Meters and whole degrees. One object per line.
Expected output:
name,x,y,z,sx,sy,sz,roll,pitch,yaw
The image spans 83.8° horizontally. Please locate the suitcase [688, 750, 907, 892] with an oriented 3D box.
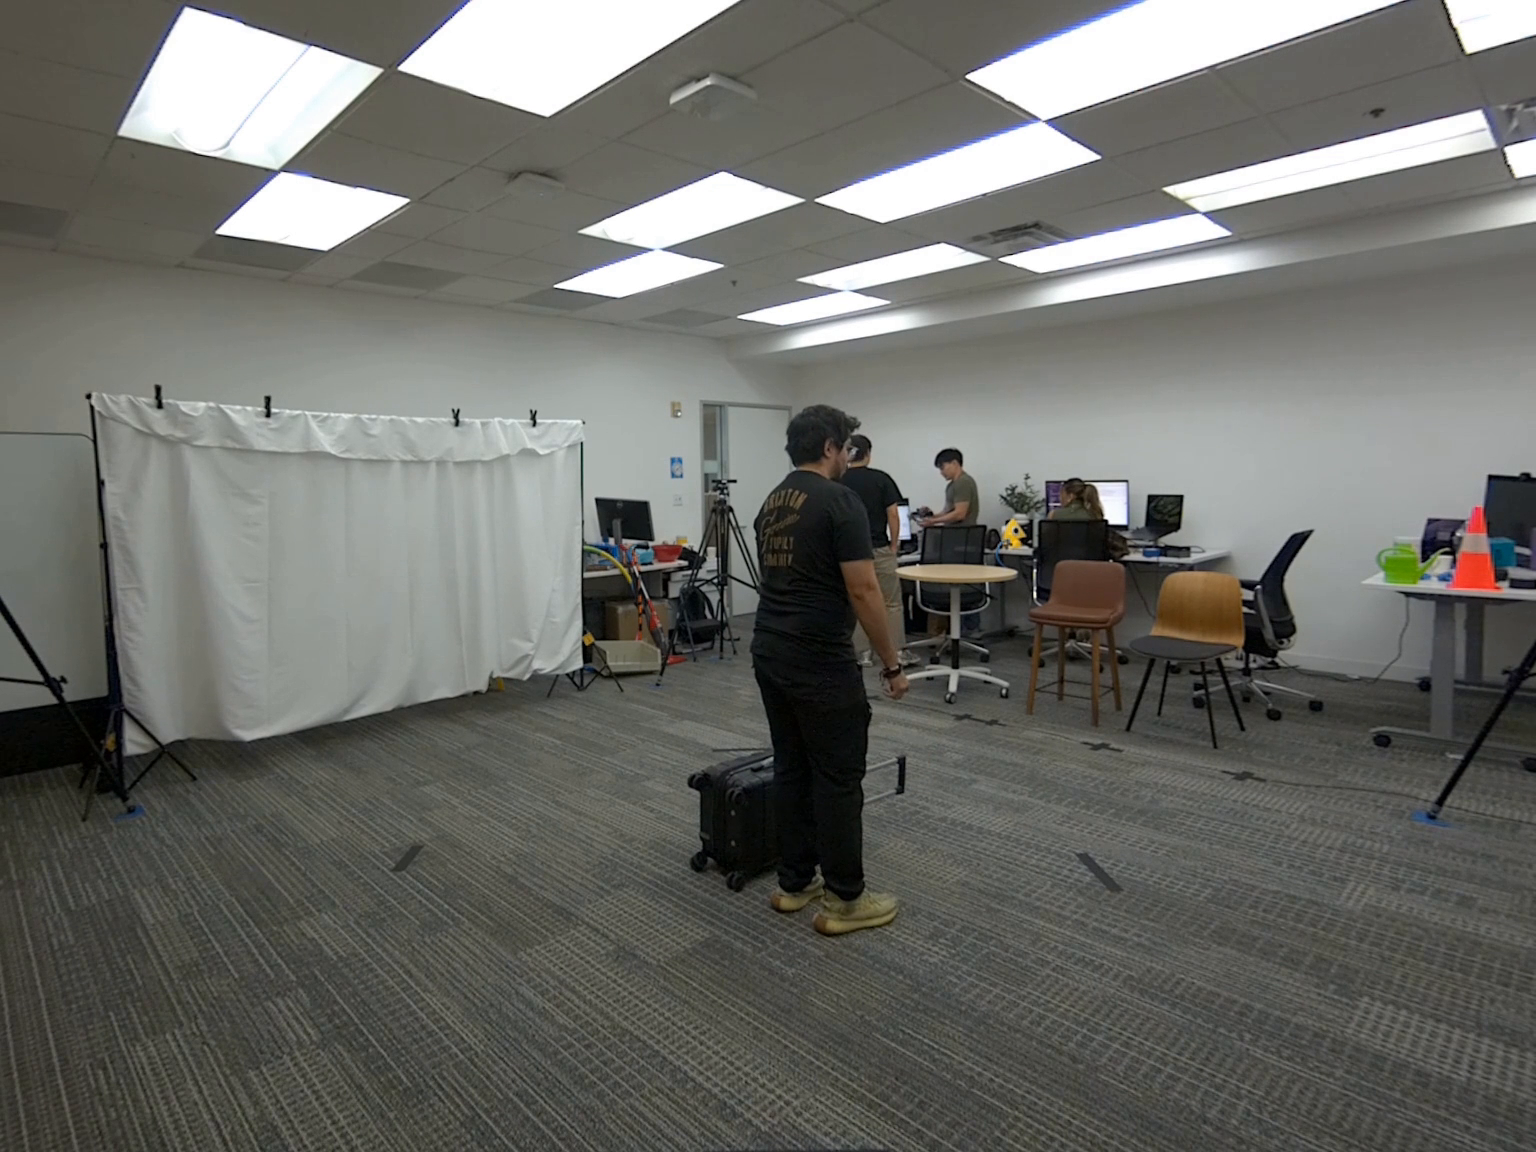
suitcase,0.137,0.836,3.297,0.952,0.383,0.265,-6,6,-44
